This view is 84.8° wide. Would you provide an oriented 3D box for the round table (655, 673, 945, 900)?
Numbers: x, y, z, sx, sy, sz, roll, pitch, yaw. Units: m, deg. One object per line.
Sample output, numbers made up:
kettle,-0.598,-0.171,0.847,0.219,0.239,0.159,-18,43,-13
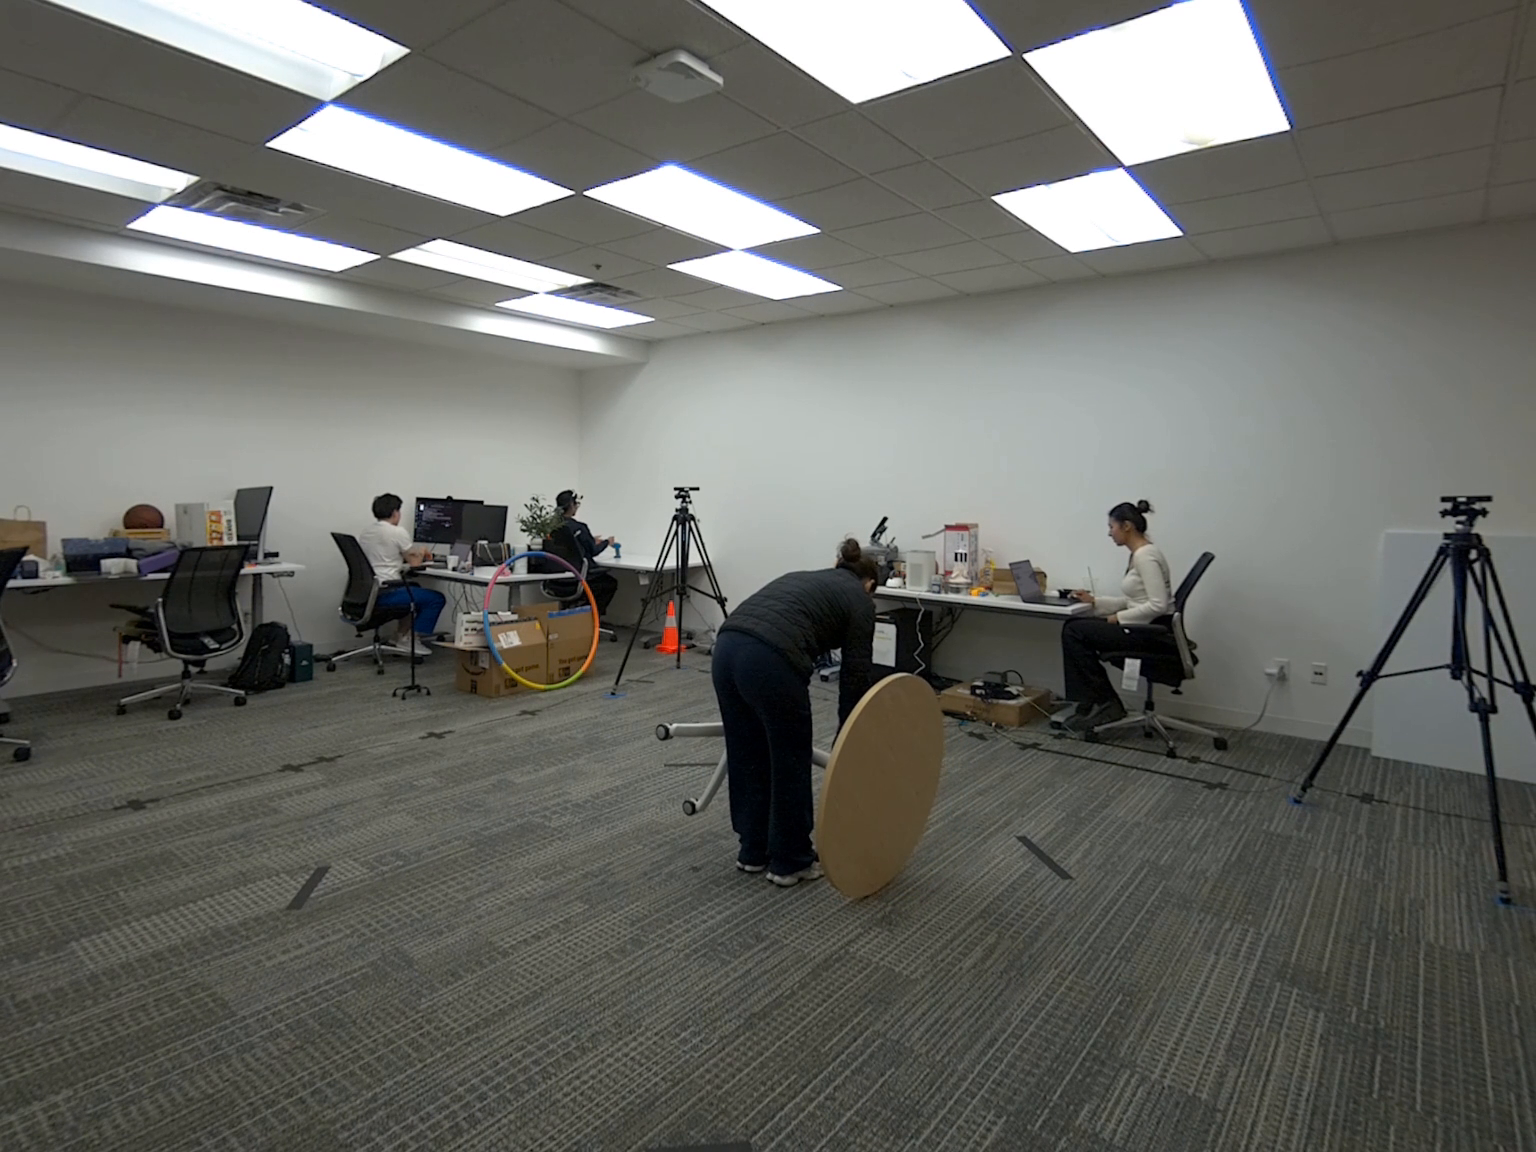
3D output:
round table,0.116,0.652,3.170,0.815,0.780,0.762,10,9,40
